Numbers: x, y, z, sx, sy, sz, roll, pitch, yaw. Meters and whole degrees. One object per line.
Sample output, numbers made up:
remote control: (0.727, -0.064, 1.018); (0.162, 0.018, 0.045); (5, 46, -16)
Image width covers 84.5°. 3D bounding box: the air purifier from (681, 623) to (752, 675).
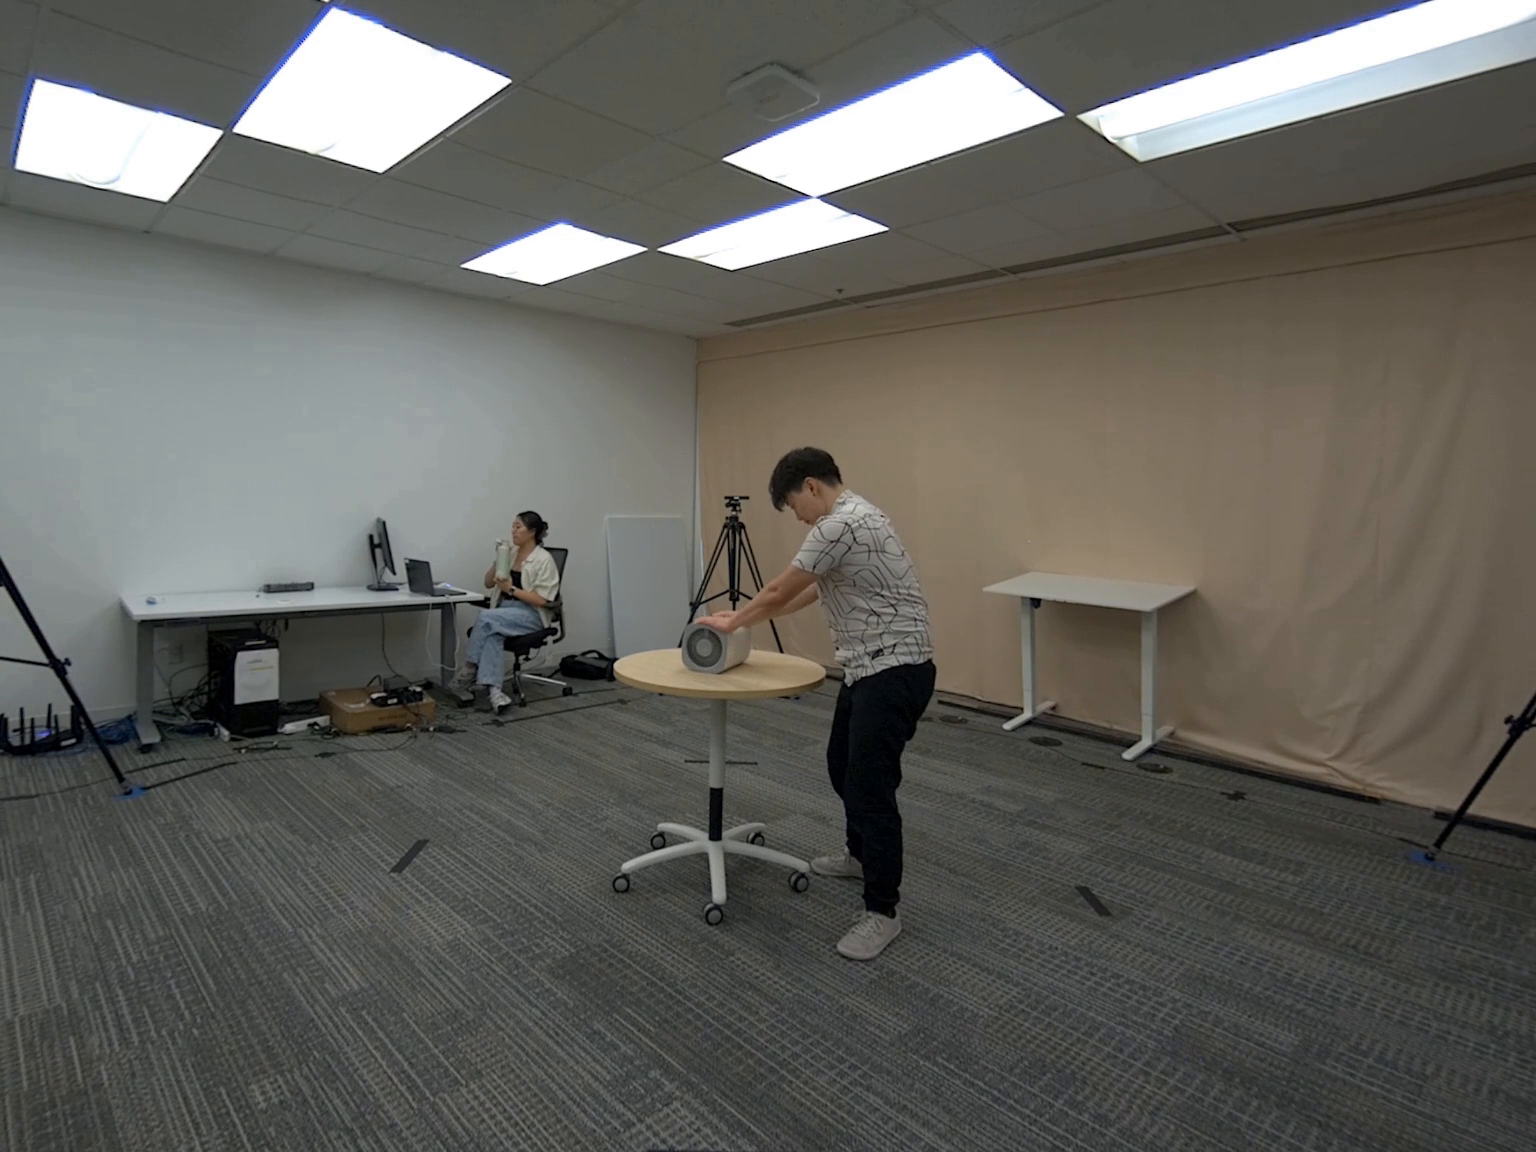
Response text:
air purifier: (-0.183, 0.238, 3.053); (0.174, 0.171, 0.261); (9, 7, 21)
